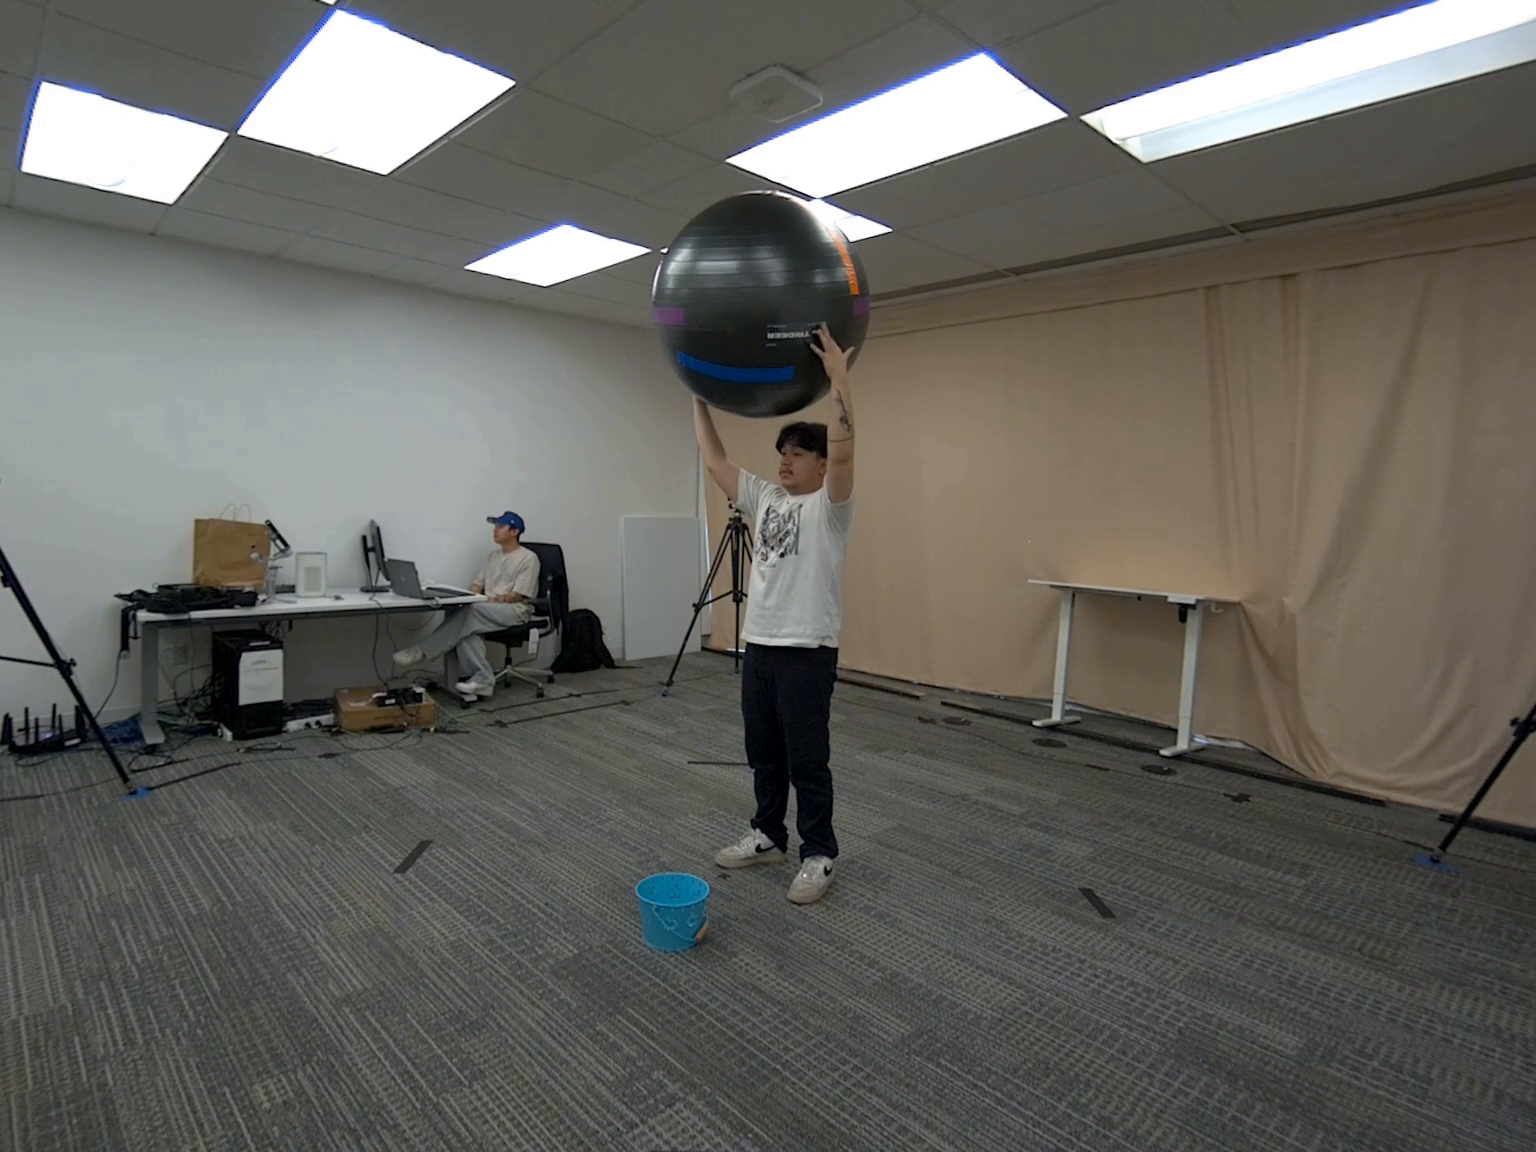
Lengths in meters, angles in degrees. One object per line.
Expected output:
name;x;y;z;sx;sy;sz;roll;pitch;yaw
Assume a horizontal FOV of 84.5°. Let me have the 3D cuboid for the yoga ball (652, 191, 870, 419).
yoga ball;-0.028;-0.933;2.957;0.757;0.756;0.760;1;4;-1
